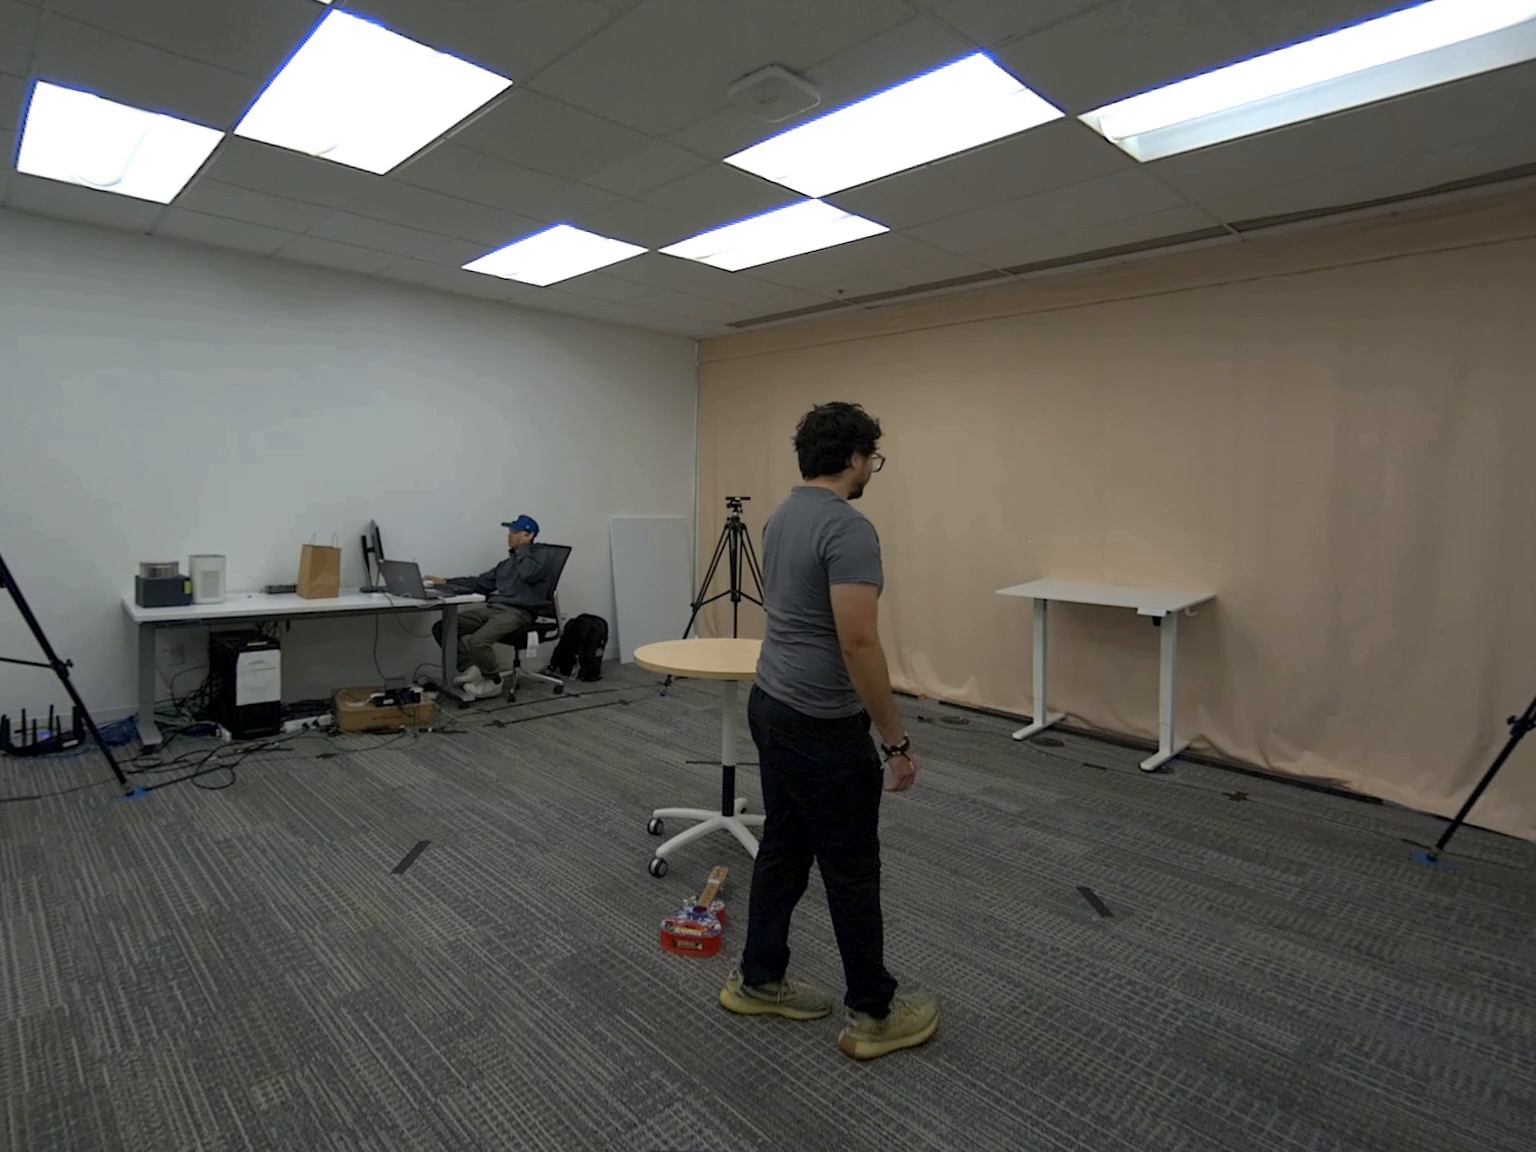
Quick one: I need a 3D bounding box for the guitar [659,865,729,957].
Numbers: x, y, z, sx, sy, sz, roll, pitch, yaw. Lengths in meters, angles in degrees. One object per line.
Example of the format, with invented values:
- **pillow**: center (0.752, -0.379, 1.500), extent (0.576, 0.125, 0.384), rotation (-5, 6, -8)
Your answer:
- **guitar**: center (-0.188, 1.095, 2.793), extent (0.196, 0.070, 0.492), rotation (3, 6, 18)
